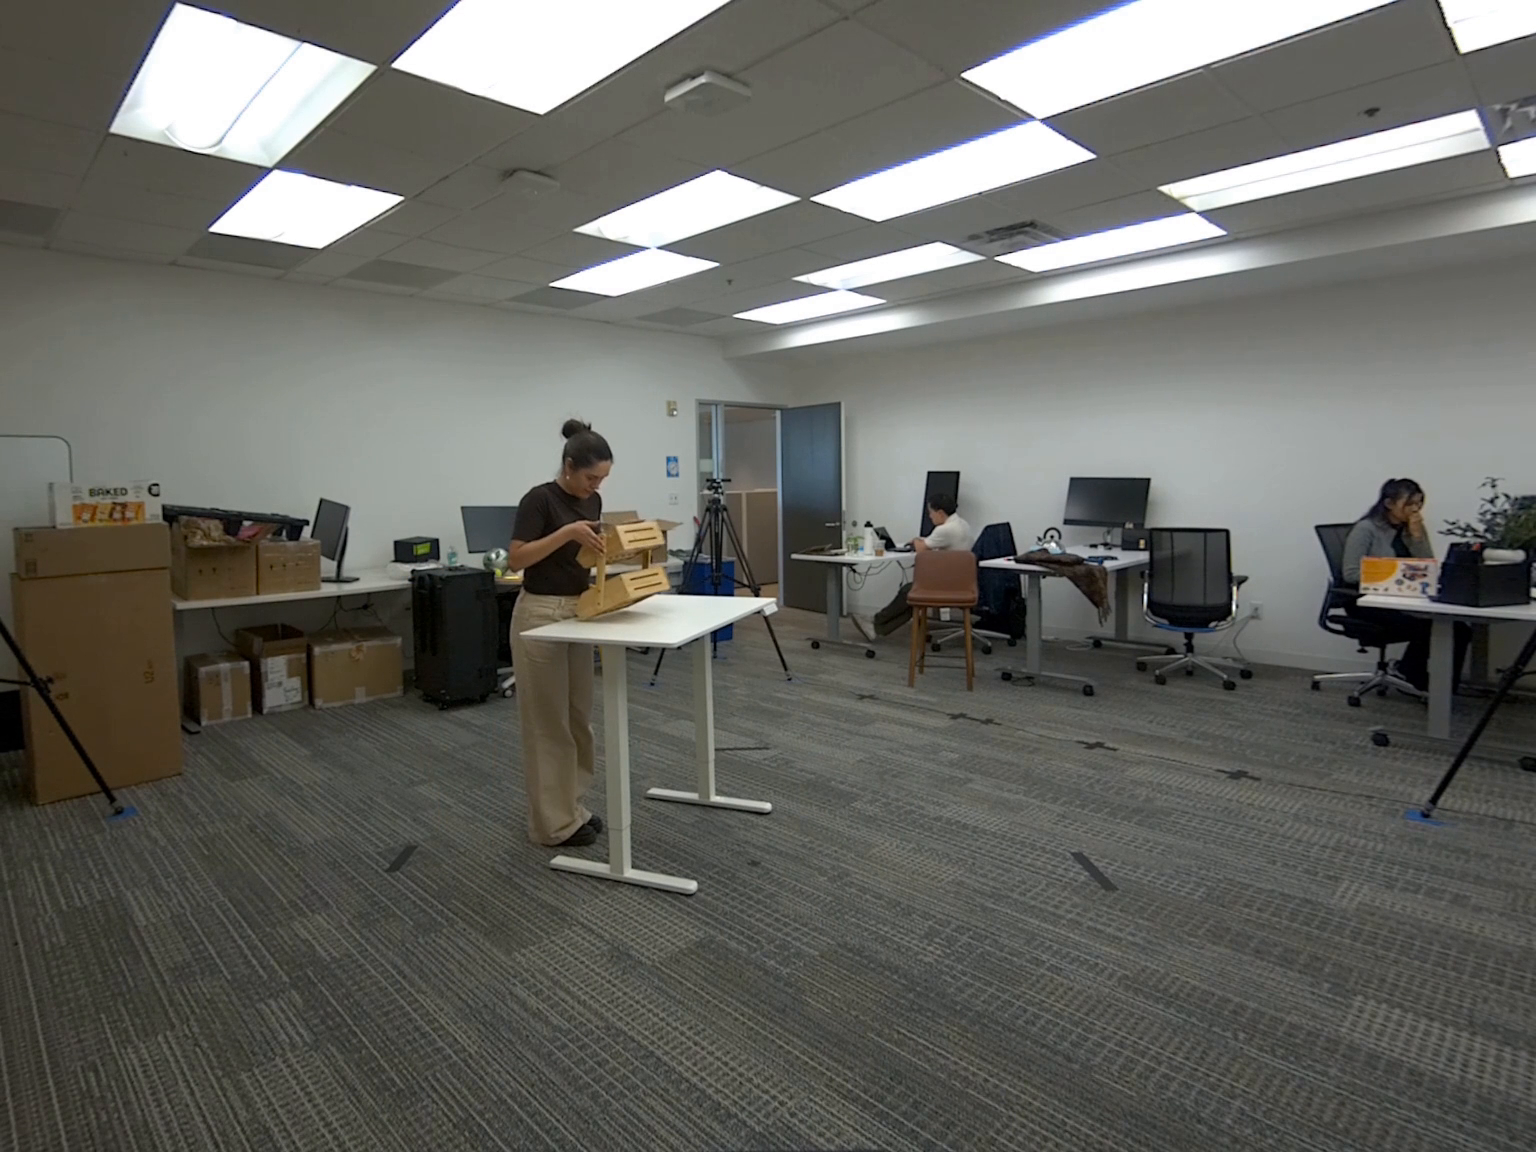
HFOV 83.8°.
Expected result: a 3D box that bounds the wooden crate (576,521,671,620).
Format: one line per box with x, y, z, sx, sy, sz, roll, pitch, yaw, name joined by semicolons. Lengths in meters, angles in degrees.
-0.571;-0.022;3.247;0.306;0.275;0.319;-23;-4;25;wooden crate
